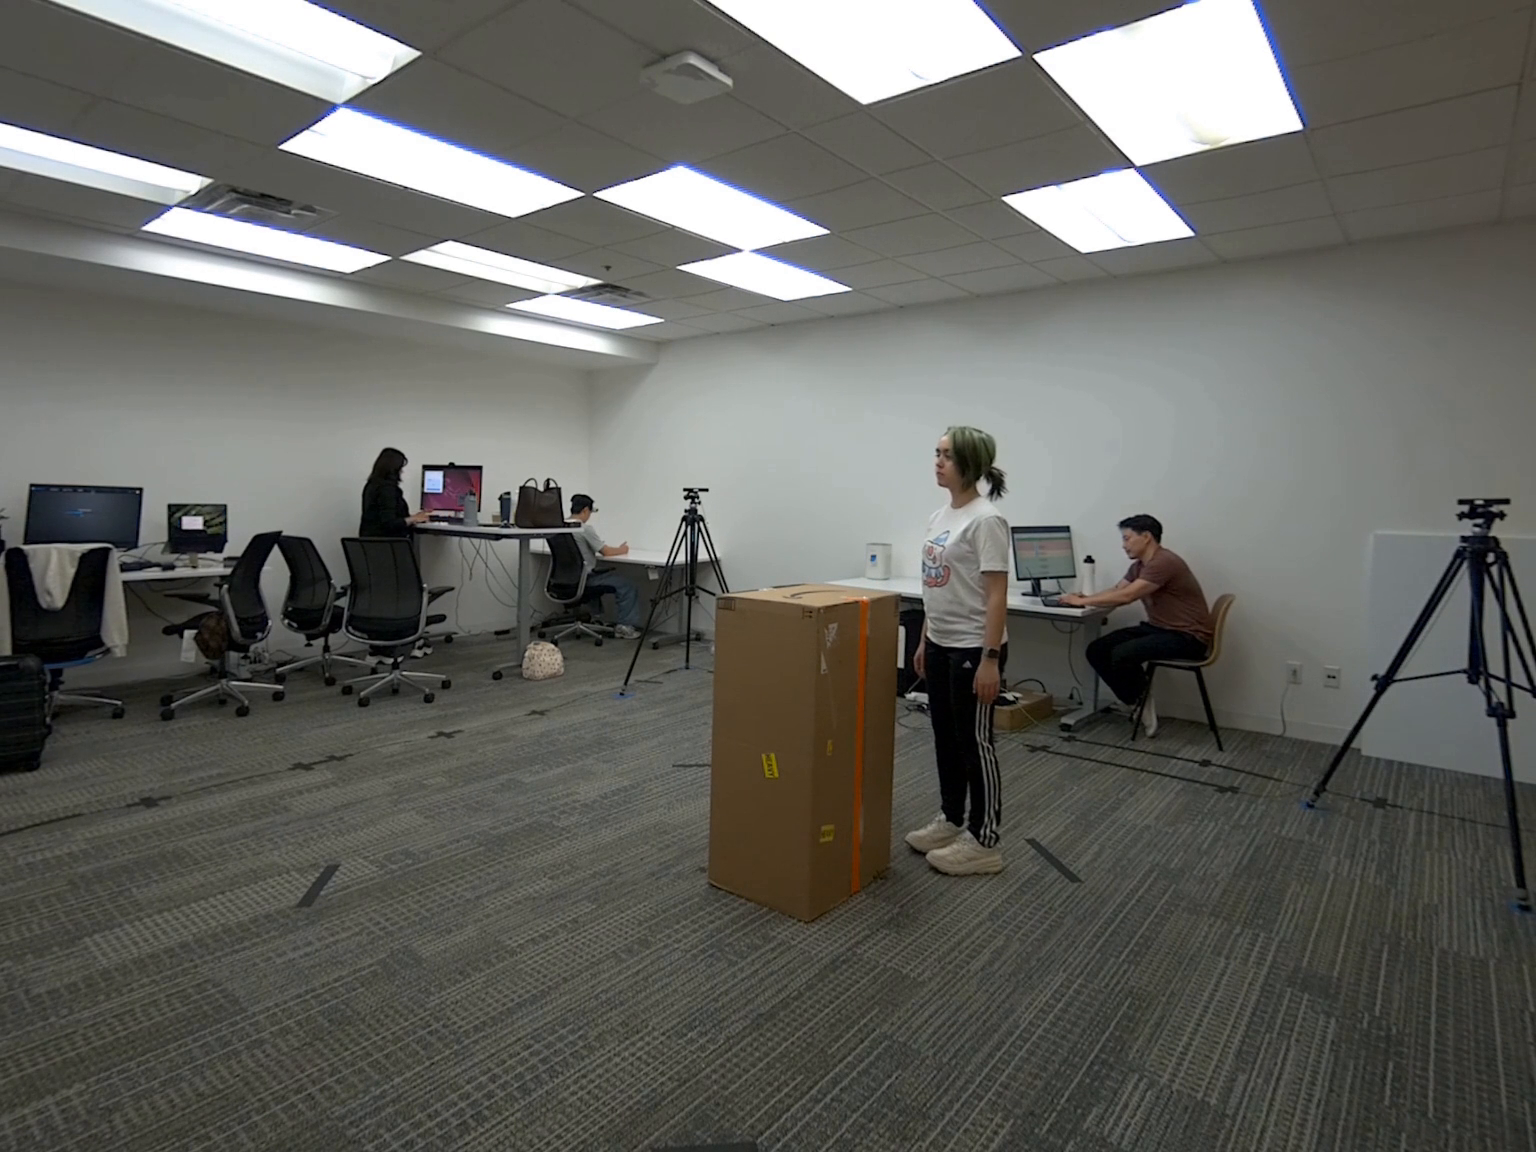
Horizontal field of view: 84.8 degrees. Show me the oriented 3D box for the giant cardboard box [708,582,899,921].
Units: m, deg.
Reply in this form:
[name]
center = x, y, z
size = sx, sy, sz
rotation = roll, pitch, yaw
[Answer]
[giant cardboard box]
center = 0.133, 0.575, 3.056
size = 0.461, 1.025, 0.567
rotation = 2, 3, 36
